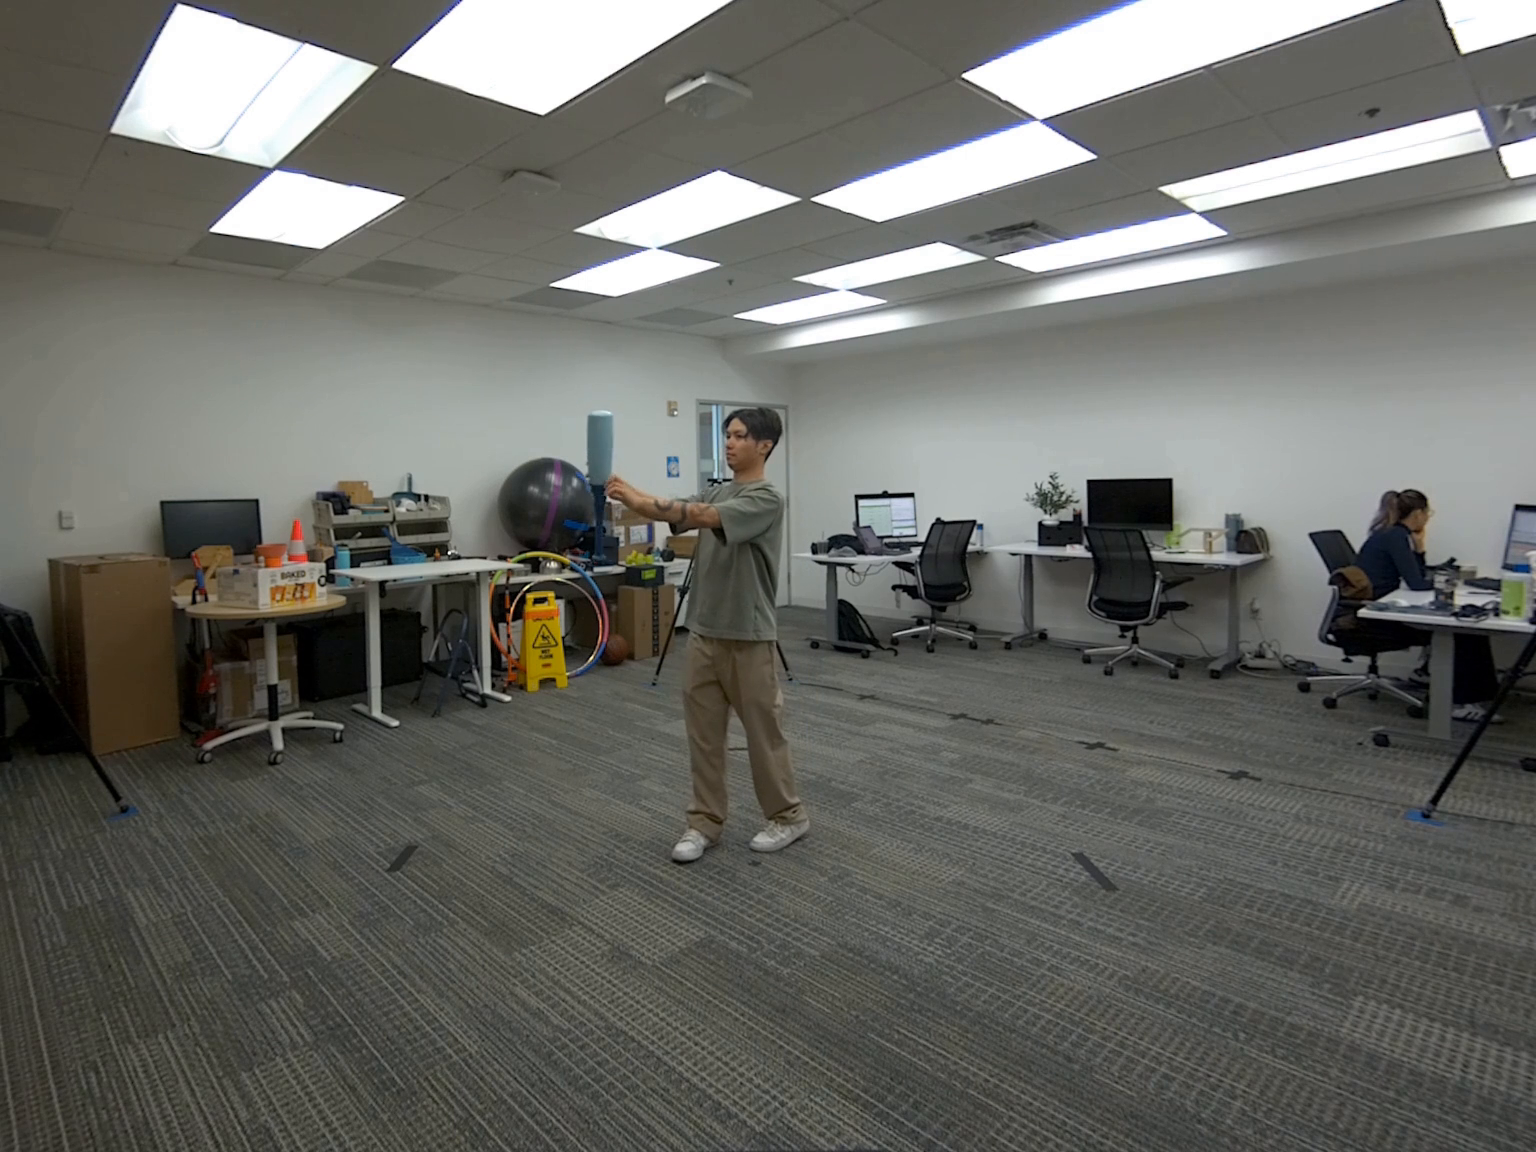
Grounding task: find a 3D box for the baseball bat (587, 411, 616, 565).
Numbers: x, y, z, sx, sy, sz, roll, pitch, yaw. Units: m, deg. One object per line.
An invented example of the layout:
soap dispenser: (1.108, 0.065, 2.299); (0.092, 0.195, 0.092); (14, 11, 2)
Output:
baseball bat: (-0.577, -0.306, 2.974); (0.089, 0.536, 0.090); (3, 15, -2)
